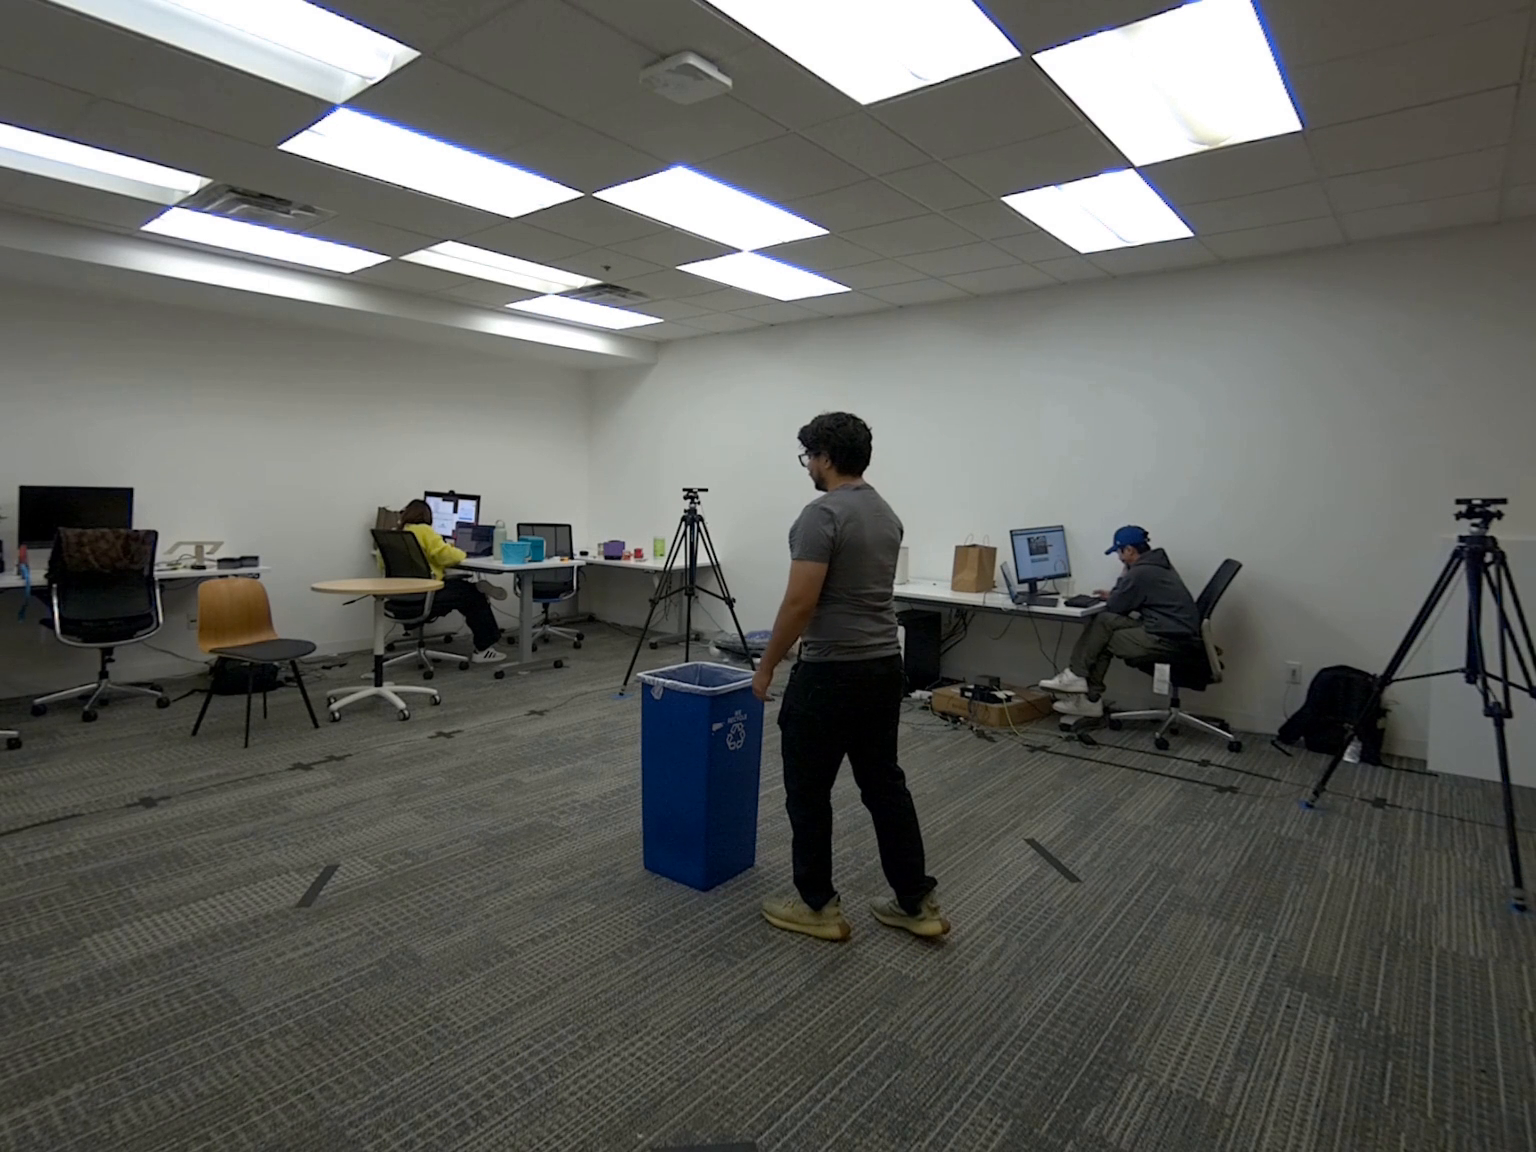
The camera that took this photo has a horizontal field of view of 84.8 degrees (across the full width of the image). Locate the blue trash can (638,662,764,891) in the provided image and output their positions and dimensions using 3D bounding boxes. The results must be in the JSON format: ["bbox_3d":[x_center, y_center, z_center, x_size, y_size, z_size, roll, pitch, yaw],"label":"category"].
[{"bbox_3d":[-0.246,0.710,3.117,0.386,0.712,0.367,3,3,36],"label":"blue trash can"}]
